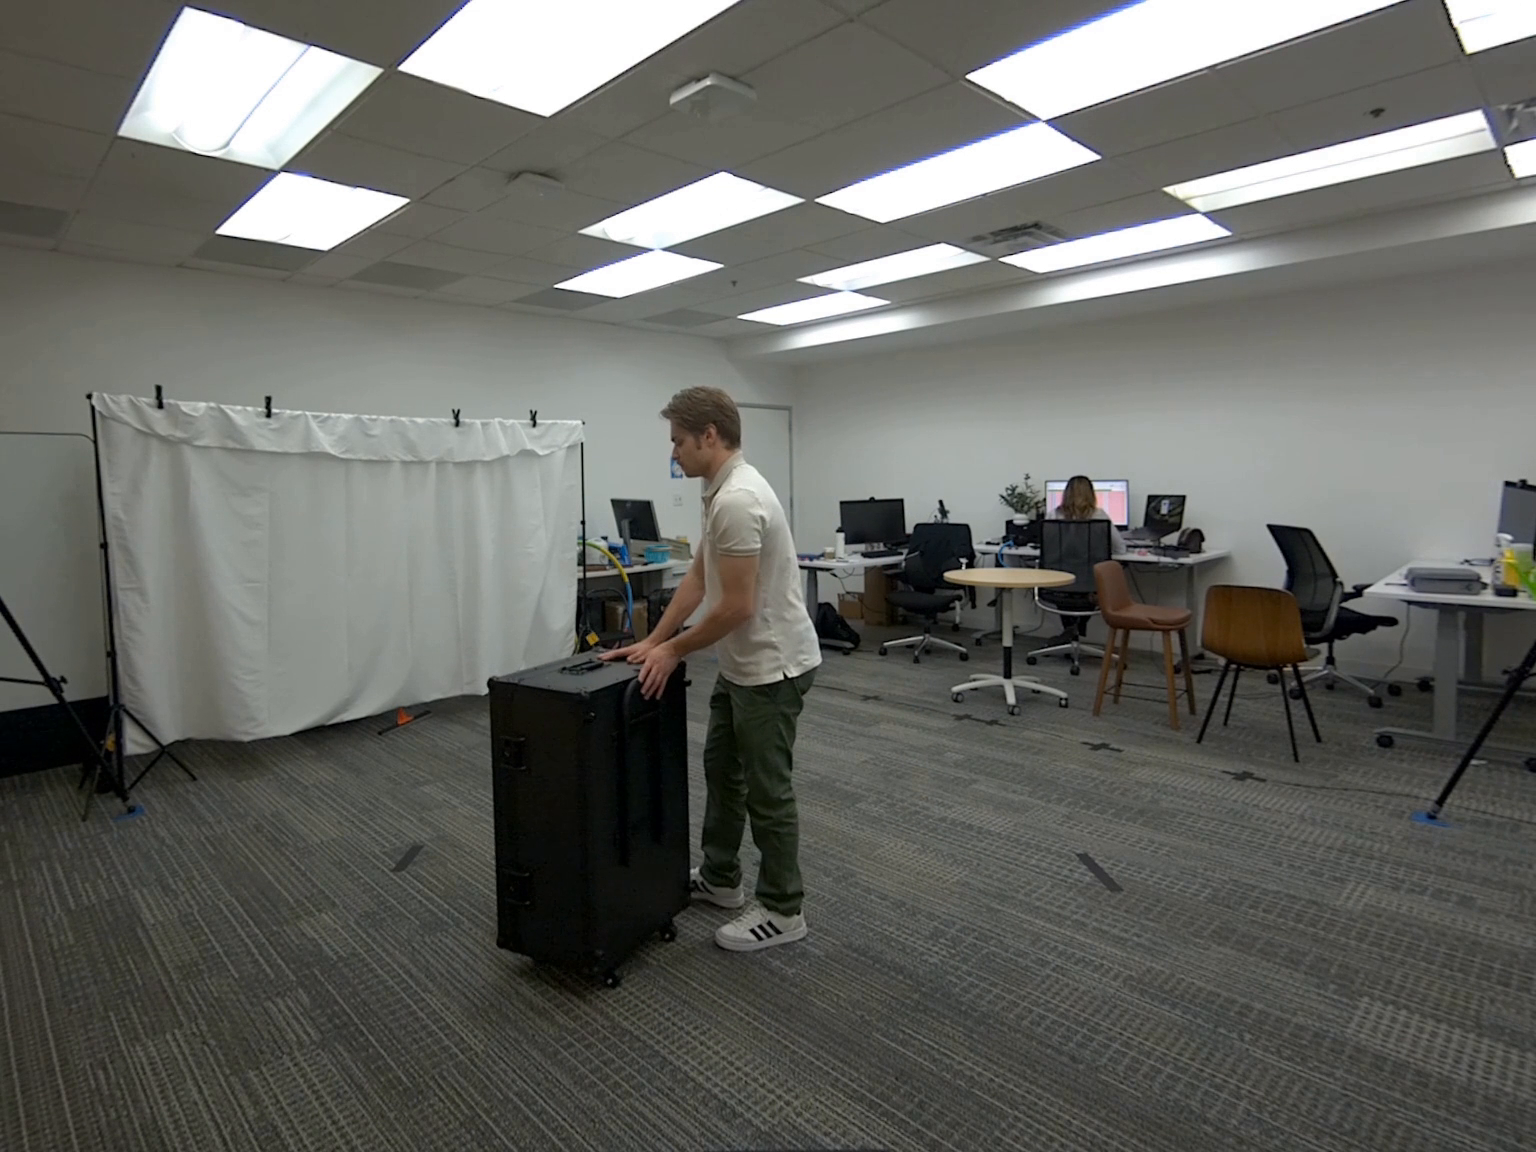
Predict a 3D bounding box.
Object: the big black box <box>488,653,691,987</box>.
[{"bbox_3d":[-0.510,0.698,2.547,0.395,0.865,0.512,1,5,28],"label":"big black box"}]
